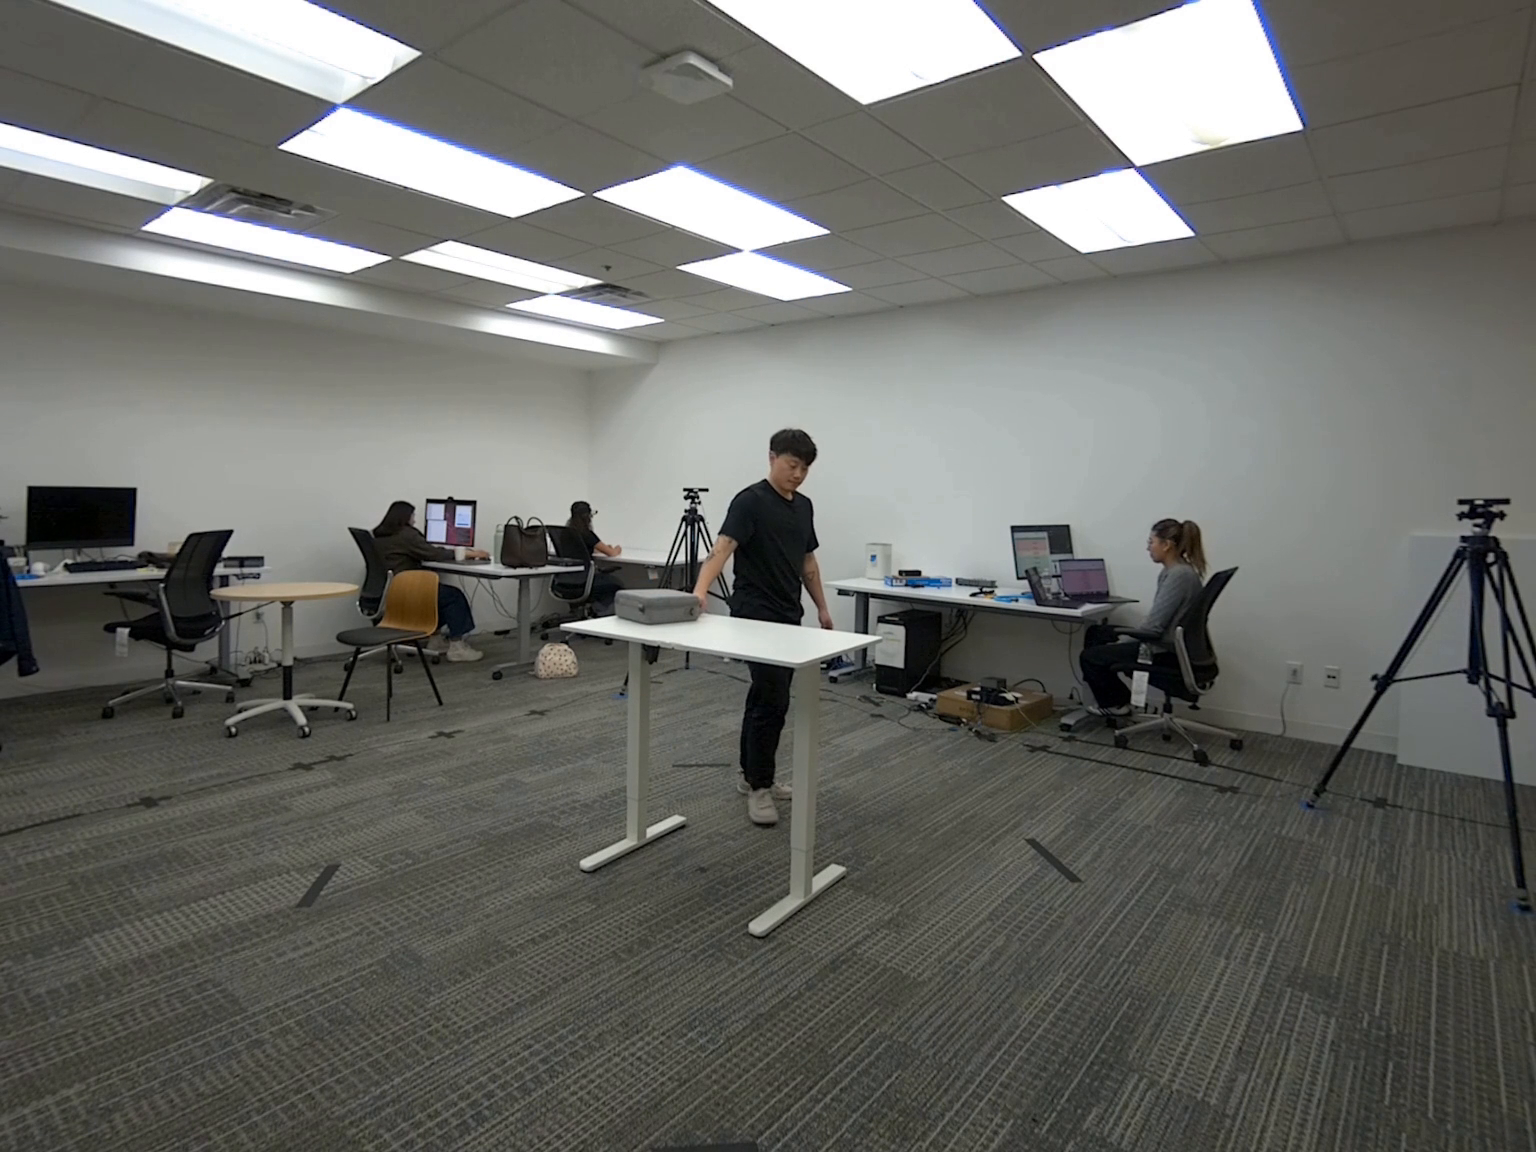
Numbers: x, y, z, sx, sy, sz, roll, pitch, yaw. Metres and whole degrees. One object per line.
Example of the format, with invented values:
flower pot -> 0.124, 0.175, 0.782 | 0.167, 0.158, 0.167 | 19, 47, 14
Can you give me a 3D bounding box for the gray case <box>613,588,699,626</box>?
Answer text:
gray case -> -0.437, 0.110, 3.283 | 0.253, 0.104, 0.266 | -2, 5, -40
